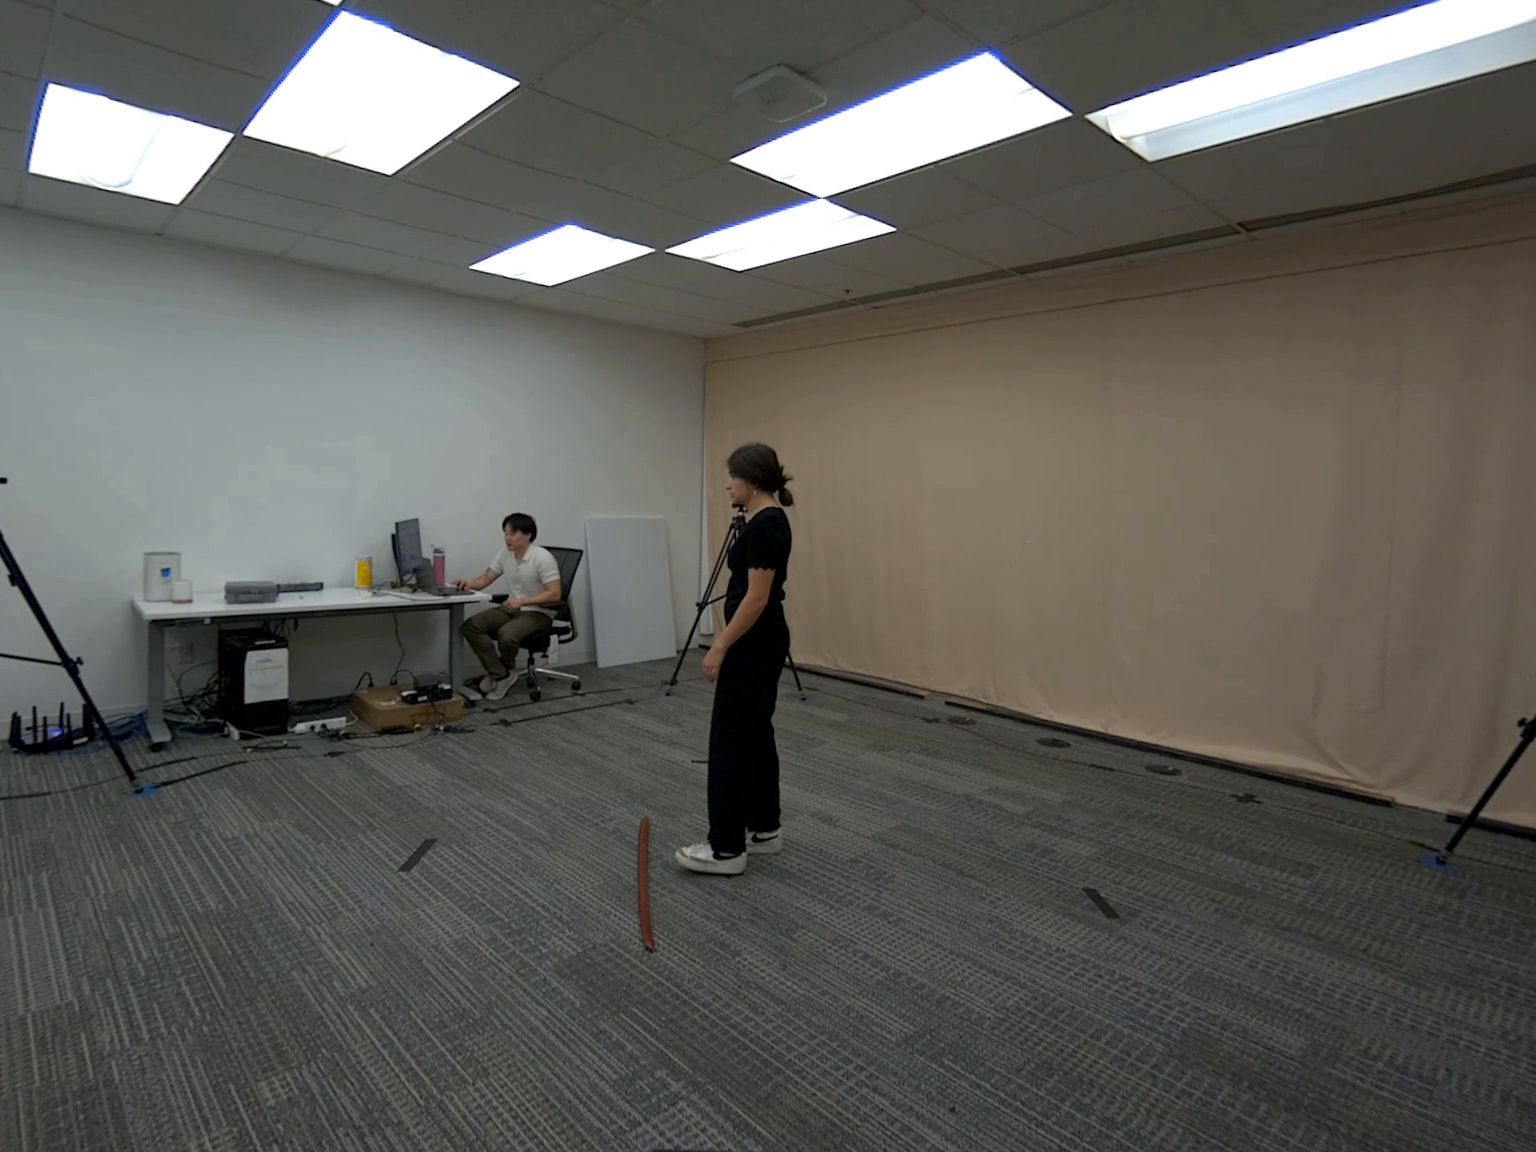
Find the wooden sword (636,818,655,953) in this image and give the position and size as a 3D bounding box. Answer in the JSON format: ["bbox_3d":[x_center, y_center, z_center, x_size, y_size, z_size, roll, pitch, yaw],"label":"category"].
[{"bbox_3d":[-0.447,1.084,3.065,0.051,0.024,1.034,22,2,-10],"label":"wooden sword"}]
